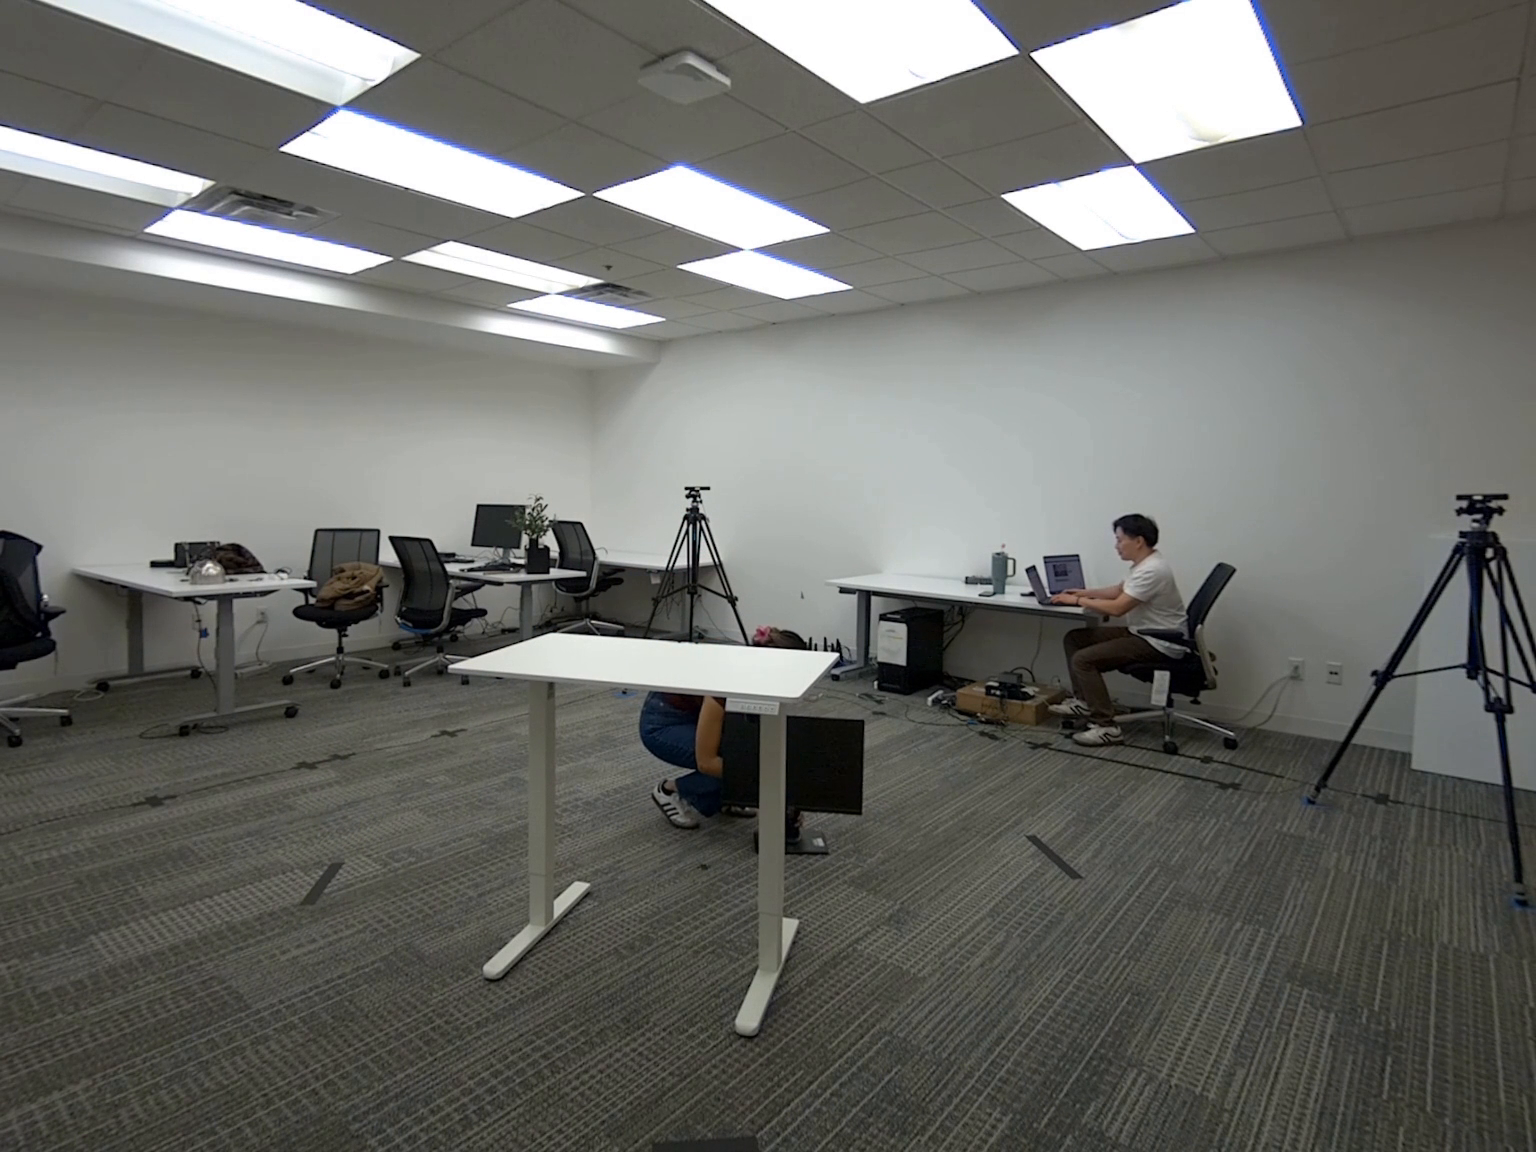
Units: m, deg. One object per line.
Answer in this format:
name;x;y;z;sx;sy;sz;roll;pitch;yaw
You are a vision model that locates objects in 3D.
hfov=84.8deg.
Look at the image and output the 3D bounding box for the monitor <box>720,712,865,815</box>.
monitor;0.089;0.799;3.299;0.542;0.520;0.187;1;5;6
